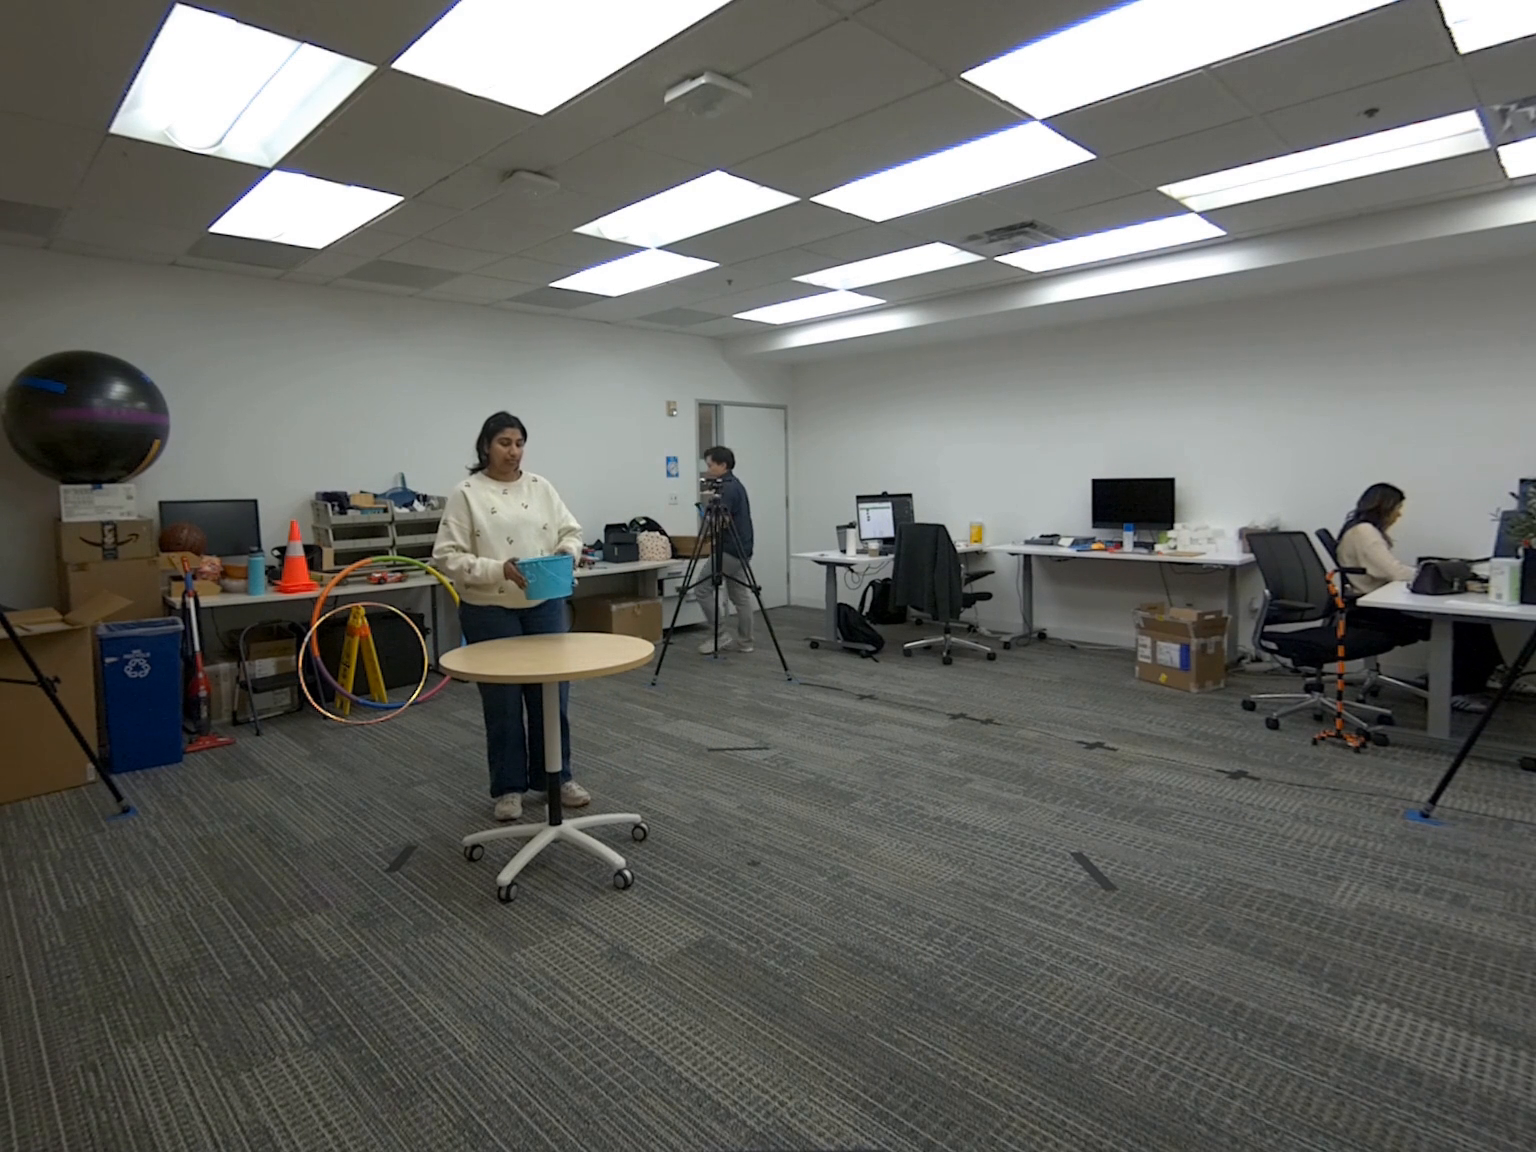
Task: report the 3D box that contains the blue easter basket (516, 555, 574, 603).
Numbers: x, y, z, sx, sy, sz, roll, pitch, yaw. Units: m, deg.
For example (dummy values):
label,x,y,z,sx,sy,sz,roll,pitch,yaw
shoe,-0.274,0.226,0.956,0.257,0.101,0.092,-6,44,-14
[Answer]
label,x,y,z,sx,sy,sz,roll,pitch,yaw
blue easter basket,-0.884,0.010,3.341,0.243,0.155,0.244,-7,4,-1
